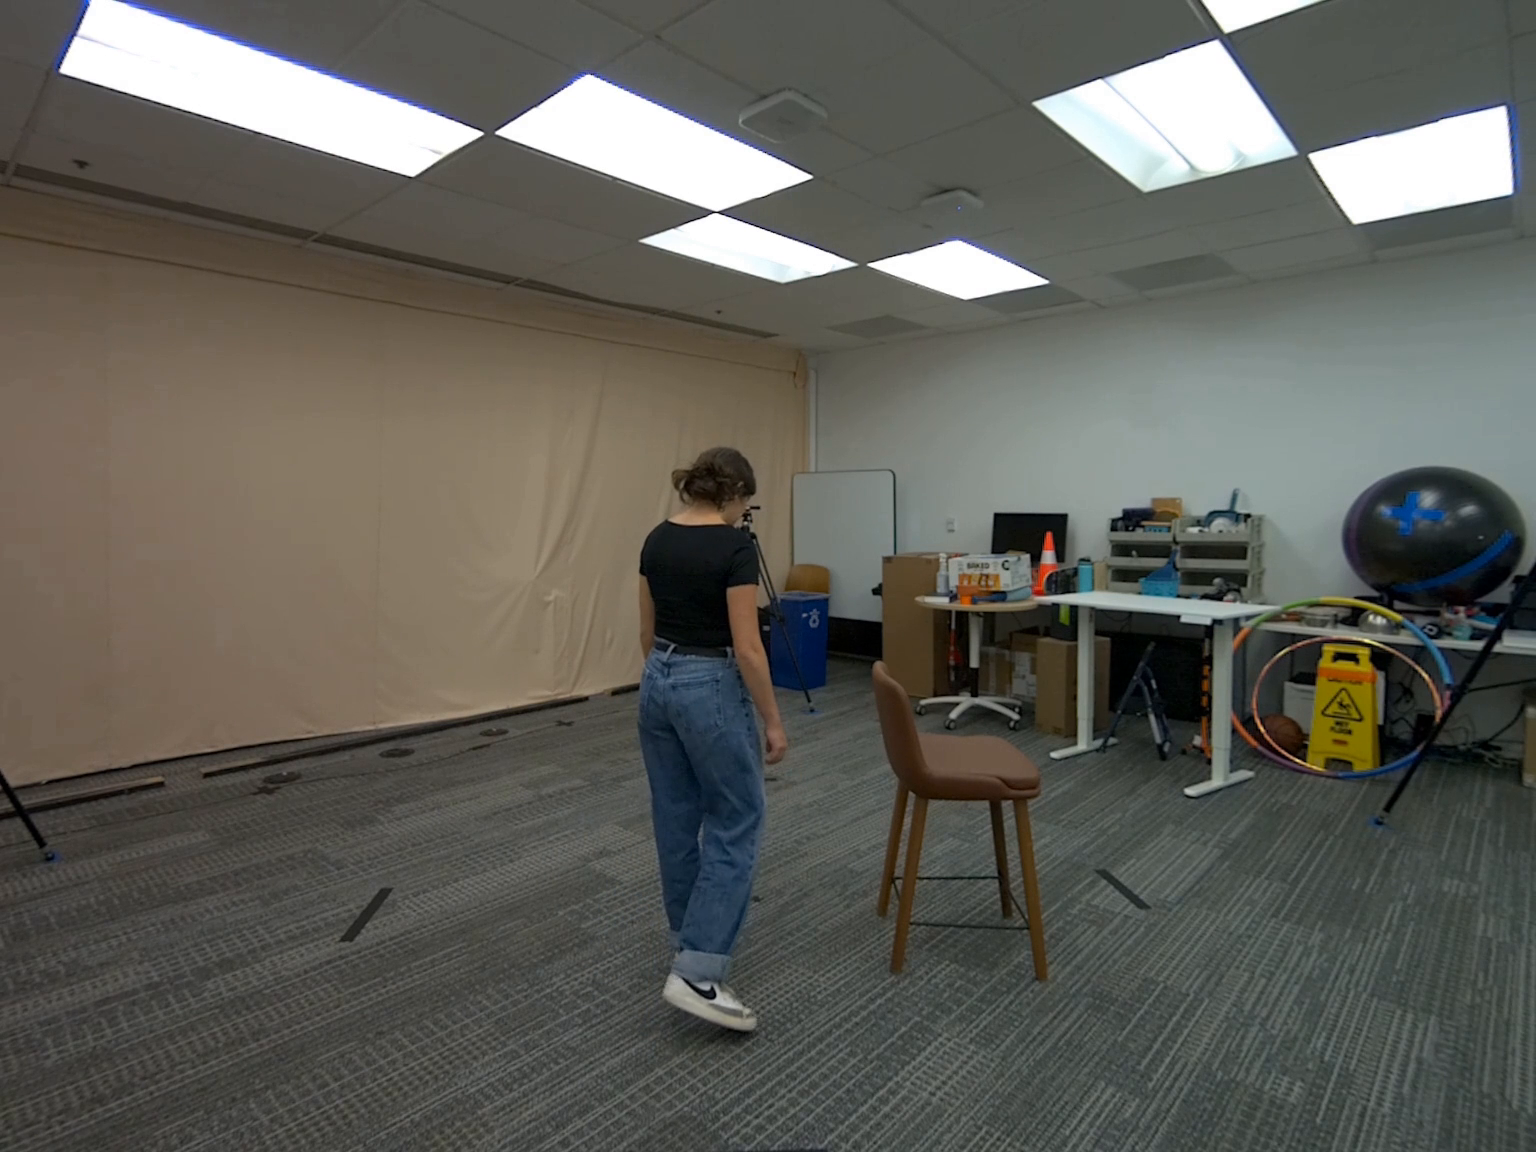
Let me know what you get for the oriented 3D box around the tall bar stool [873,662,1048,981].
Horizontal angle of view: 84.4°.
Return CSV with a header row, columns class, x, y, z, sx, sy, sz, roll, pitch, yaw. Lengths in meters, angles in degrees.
class,x,y,z,sx,sy,sz,roll,pitch,yaw
tall bar stool,0.596,0.738,2.651,0.470,0.888,0.455,-1,3,4
